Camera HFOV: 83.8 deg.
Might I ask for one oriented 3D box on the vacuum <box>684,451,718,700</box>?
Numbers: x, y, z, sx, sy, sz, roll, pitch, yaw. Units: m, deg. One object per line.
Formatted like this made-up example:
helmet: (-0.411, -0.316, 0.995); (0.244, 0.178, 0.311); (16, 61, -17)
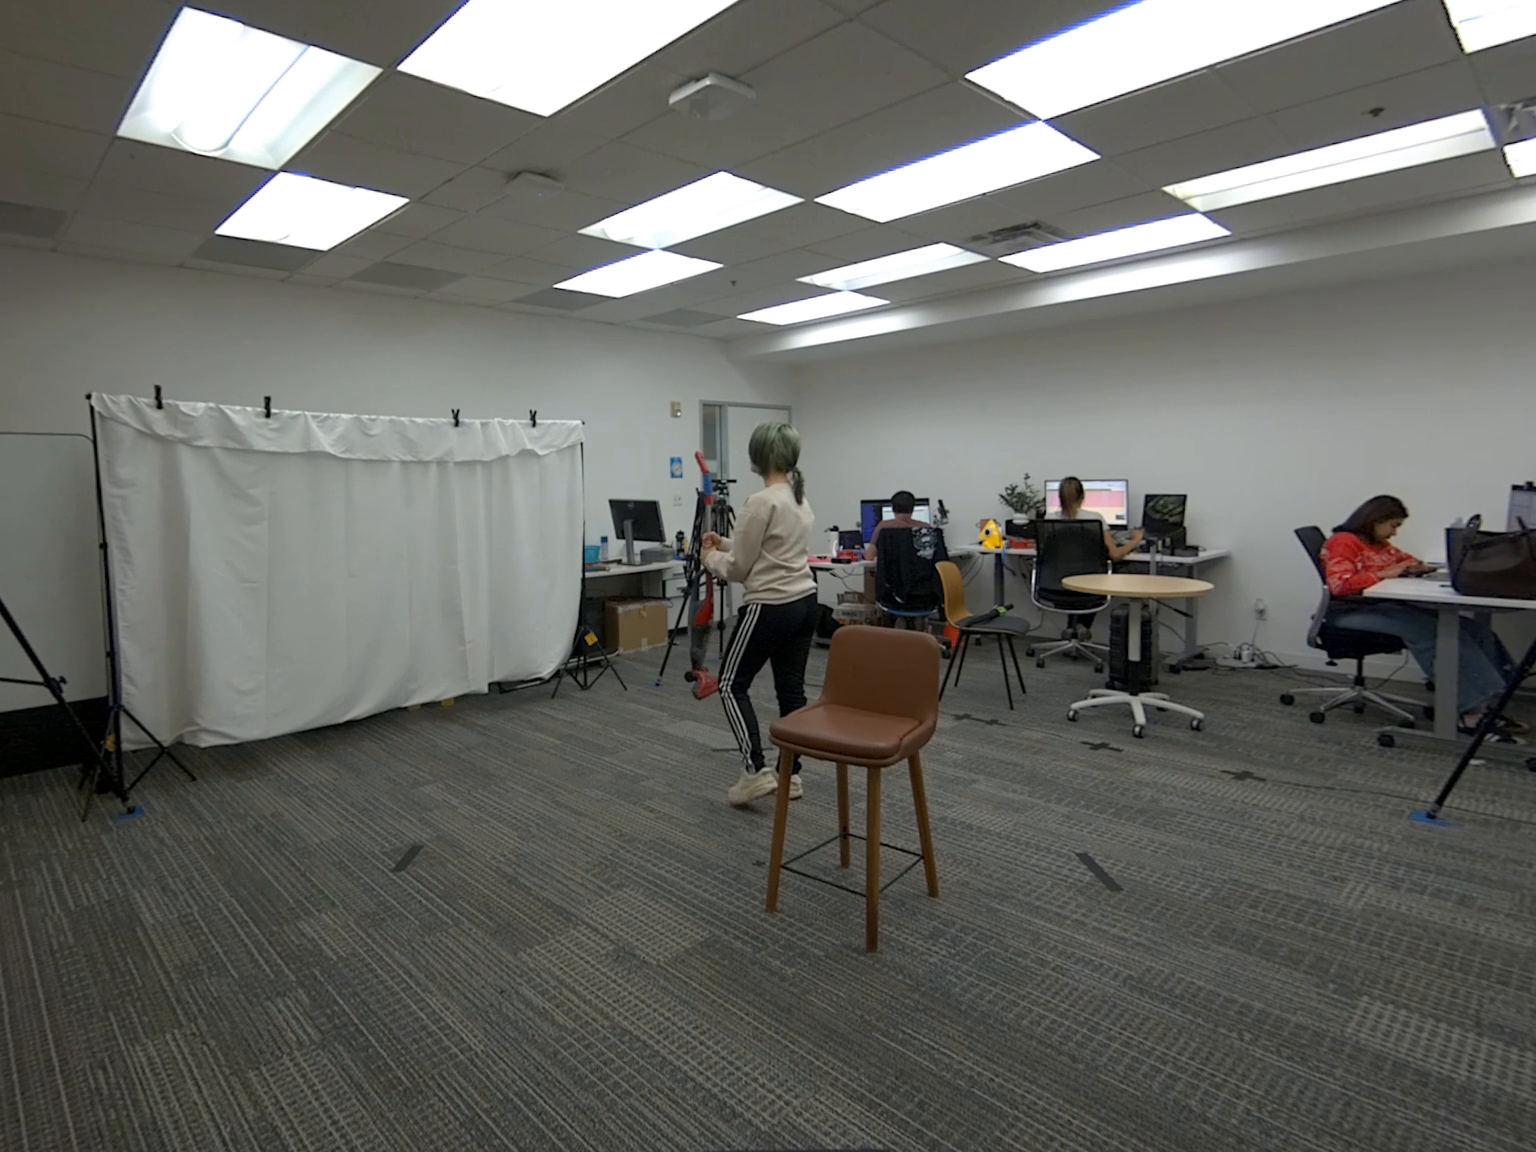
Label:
vacuum: (-0.313, -0.029, 3.887); (0.148, 1.045, 0.247); (1, 6, 35)
